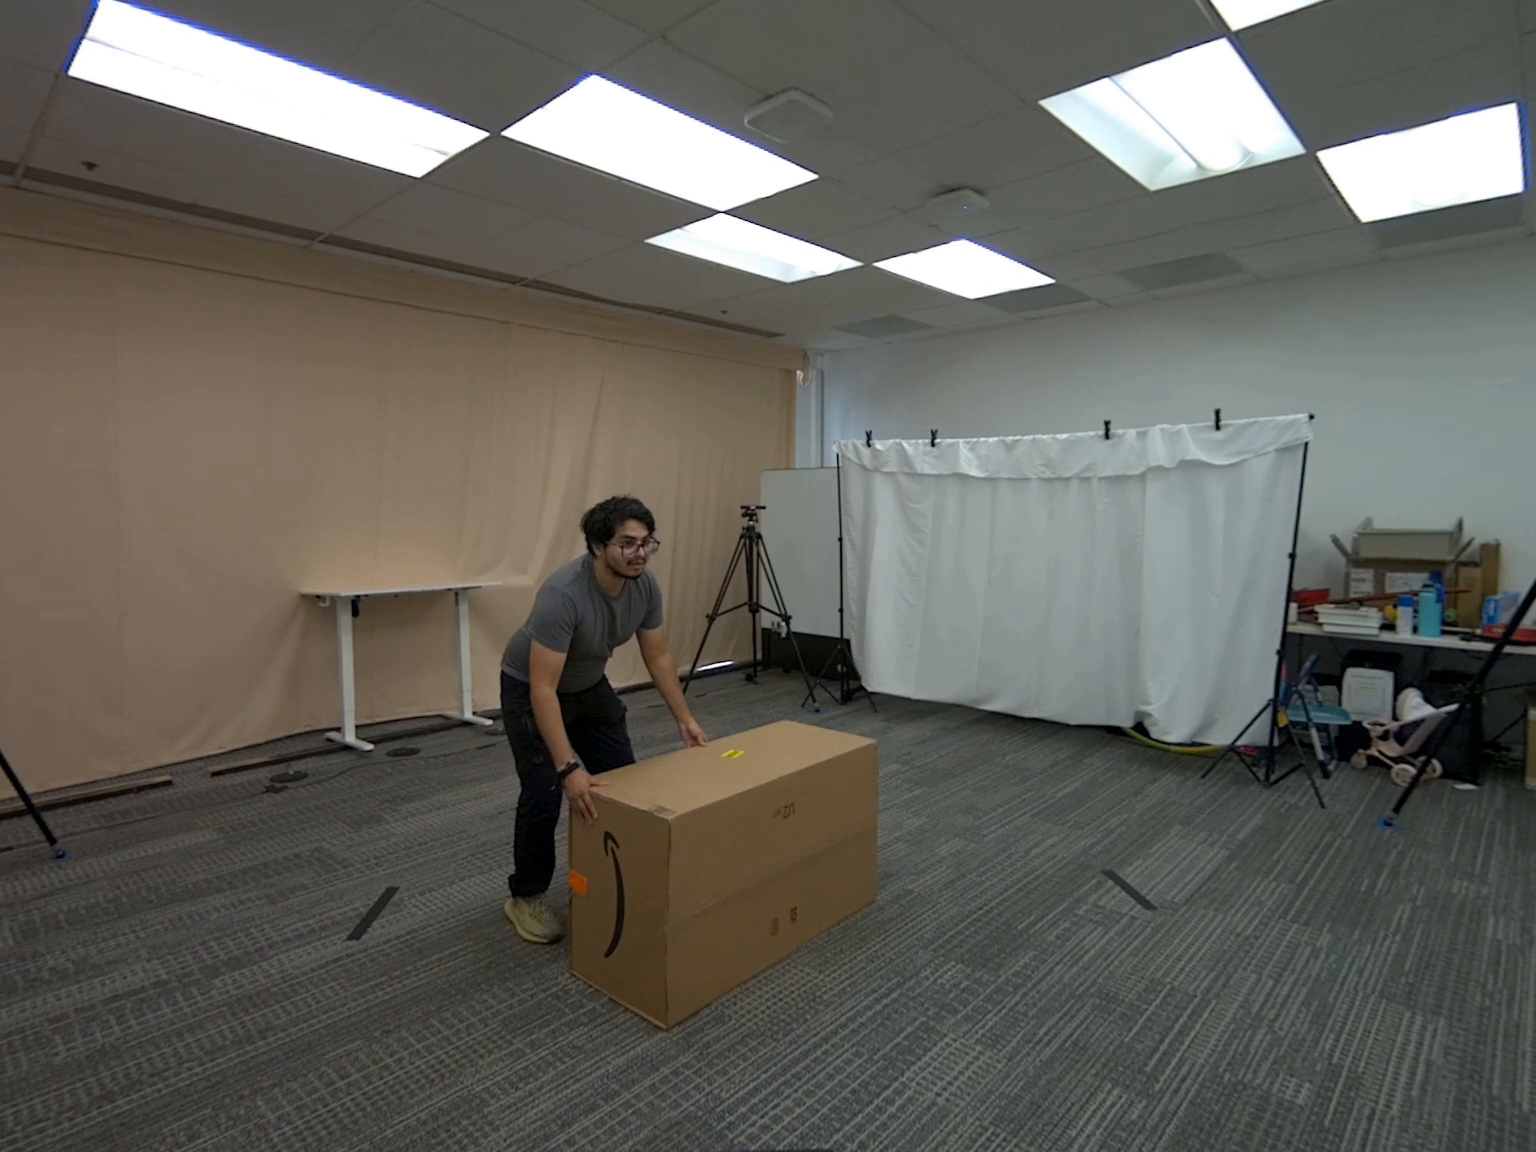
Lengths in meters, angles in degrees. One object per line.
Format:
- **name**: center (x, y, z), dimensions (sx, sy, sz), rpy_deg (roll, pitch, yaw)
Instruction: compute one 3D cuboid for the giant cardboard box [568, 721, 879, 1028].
- **giant cardboard box**: center (-0.100, 0.881, 2.726), dimensions (0.440, 0.576, 0.995), rpy_deg (3, 5, 41)
